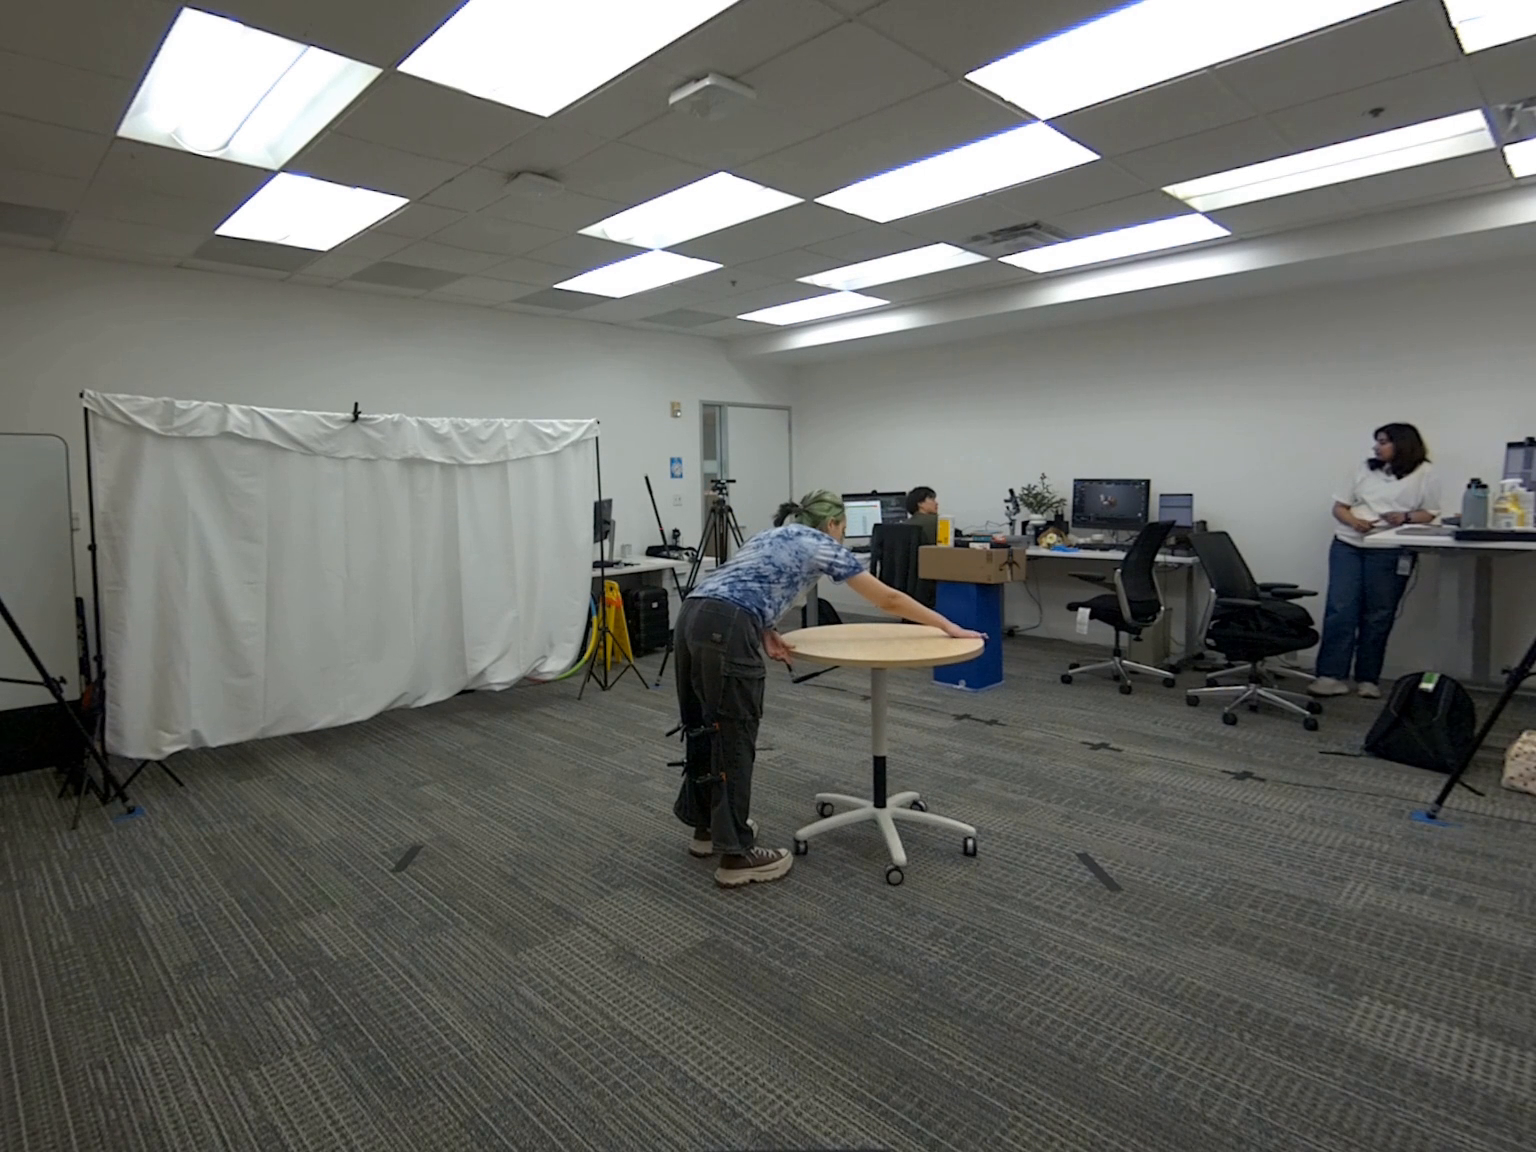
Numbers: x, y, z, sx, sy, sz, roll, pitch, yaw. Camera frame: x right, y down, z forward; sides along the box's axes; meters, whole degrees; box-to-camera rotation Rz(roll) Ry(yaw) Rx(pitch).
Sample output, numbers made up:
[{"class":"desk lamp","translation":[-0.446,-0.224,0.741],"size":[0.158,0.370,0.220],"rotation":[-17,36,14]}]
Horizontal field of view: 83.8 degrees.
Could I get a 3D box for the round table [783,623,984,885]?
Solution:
[{"class":"round table","translation":[0.420,0.632,3.258],"size":[0.763,0.791,0.768],"rotation":[-1,5,-2]}]
